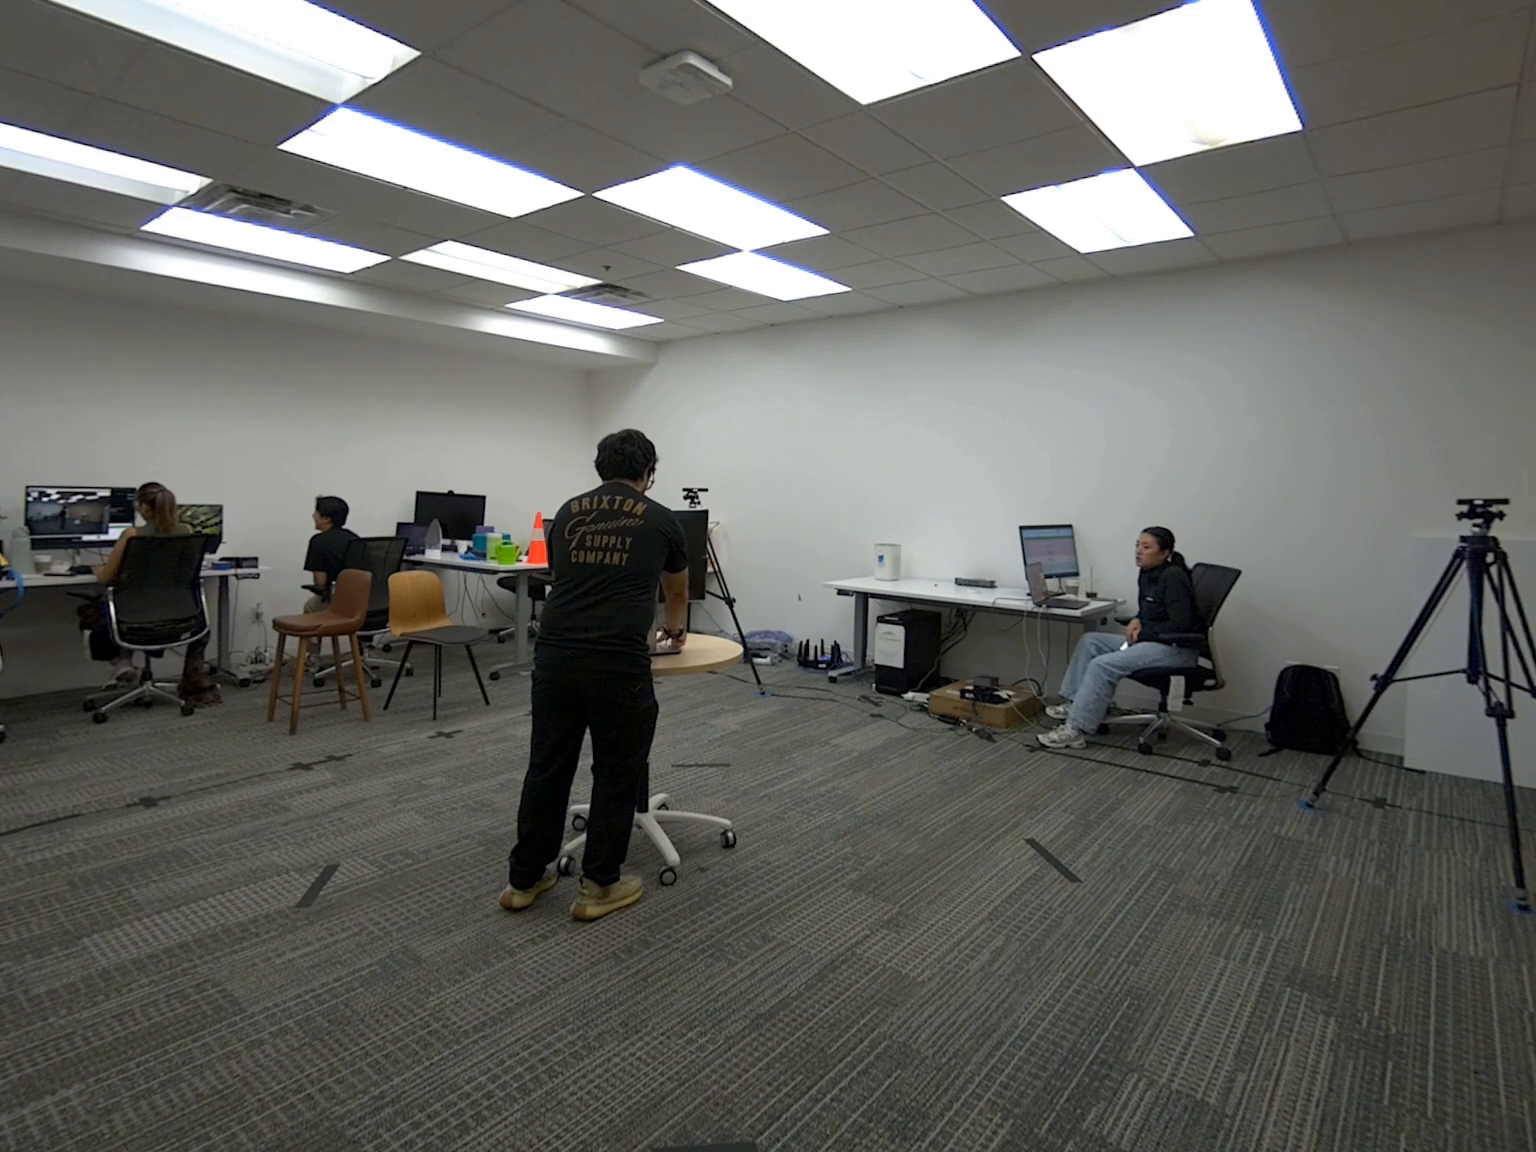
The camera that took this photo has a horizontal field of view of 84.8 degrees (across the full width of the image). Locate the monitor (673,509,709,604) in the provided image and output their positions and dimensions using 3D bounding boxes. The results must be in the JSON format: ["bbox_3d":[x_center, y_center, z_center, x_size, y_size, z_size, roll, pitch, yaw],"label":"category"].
[{"bbox_3d":[-0.469,0.020,3.148,0.551,0.552,0.216,-1,5,-26],"label":"monitor"}]
